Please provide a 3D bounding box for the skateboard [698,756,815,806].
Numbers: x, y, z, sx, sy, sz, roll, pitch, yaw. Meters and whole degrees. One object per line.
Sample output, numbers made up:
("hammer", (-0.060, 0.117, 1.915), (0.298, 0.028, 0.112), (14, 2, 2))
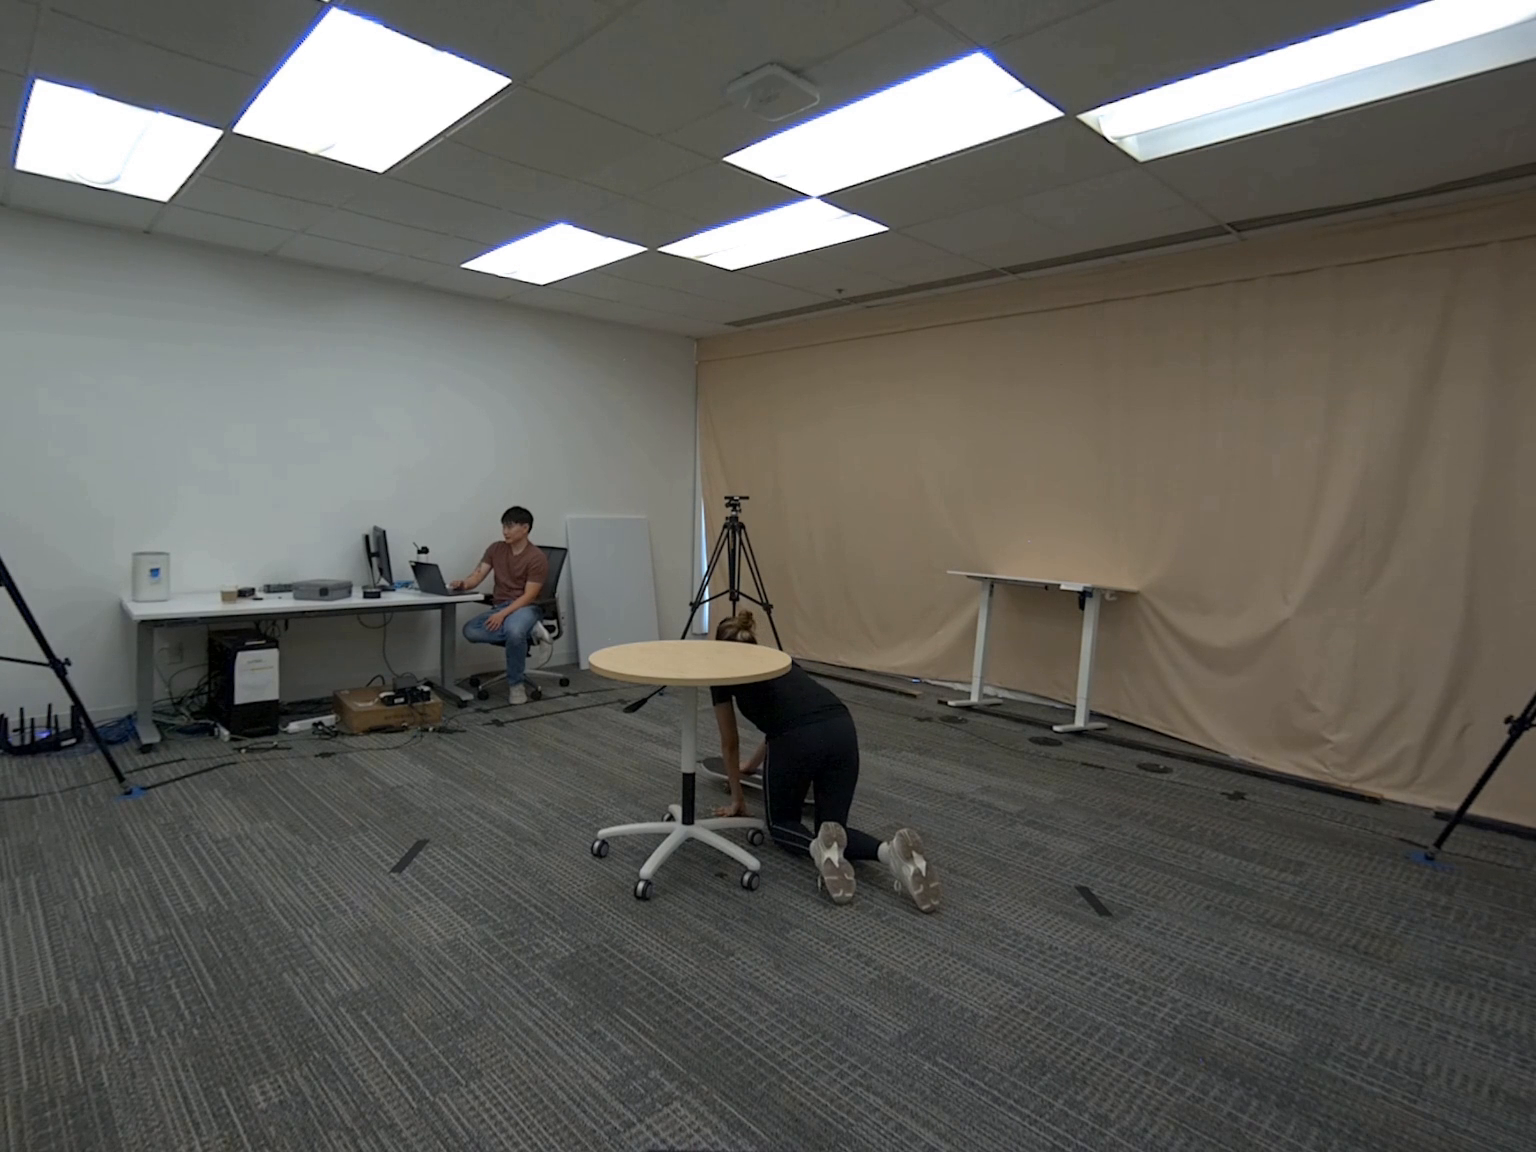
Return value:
("skateboard", (-0.003, 0.984, 3.919), (0.805, 0.110, 0.189), (6, 5, 39))
